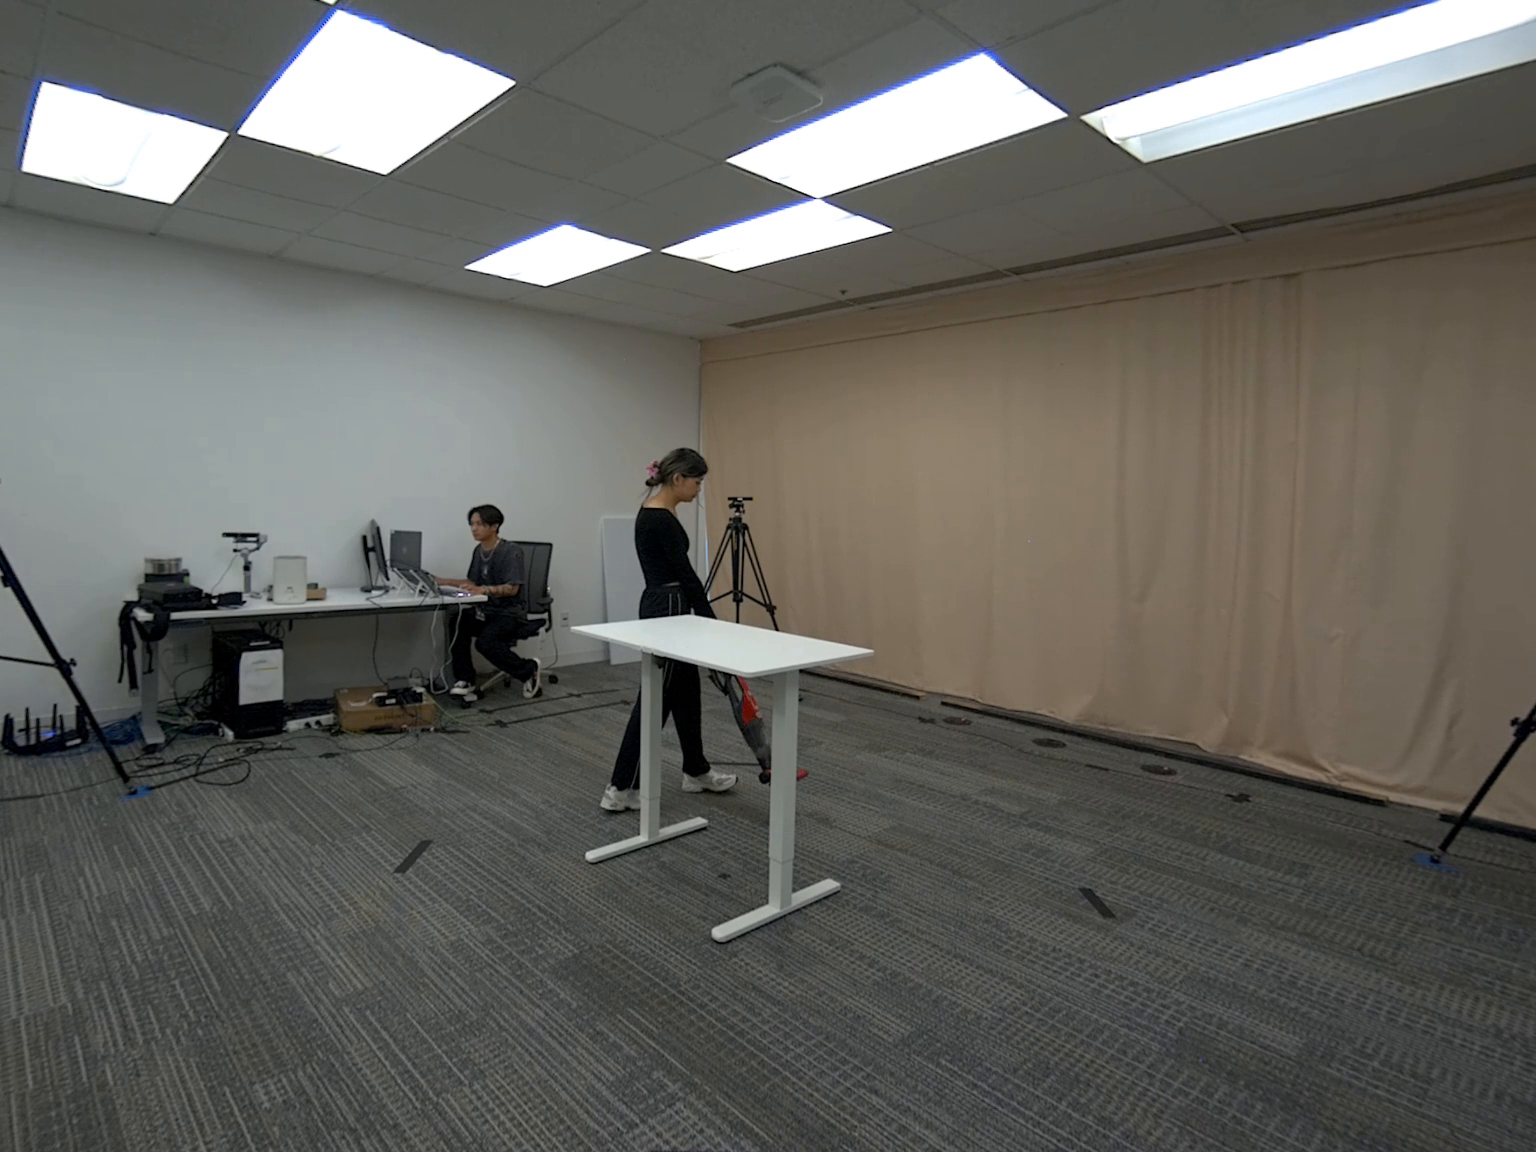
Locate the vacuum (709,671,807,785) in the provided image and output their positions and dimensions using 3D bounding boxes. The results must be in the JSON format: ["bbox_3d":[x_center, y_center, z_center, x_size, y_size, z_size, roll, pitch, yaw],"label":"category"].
[{"bbox_3d":[-0.171,0.443,3.818,0.145,1.068,0.247,-34,-19,23],"label":"vacuum"}]
